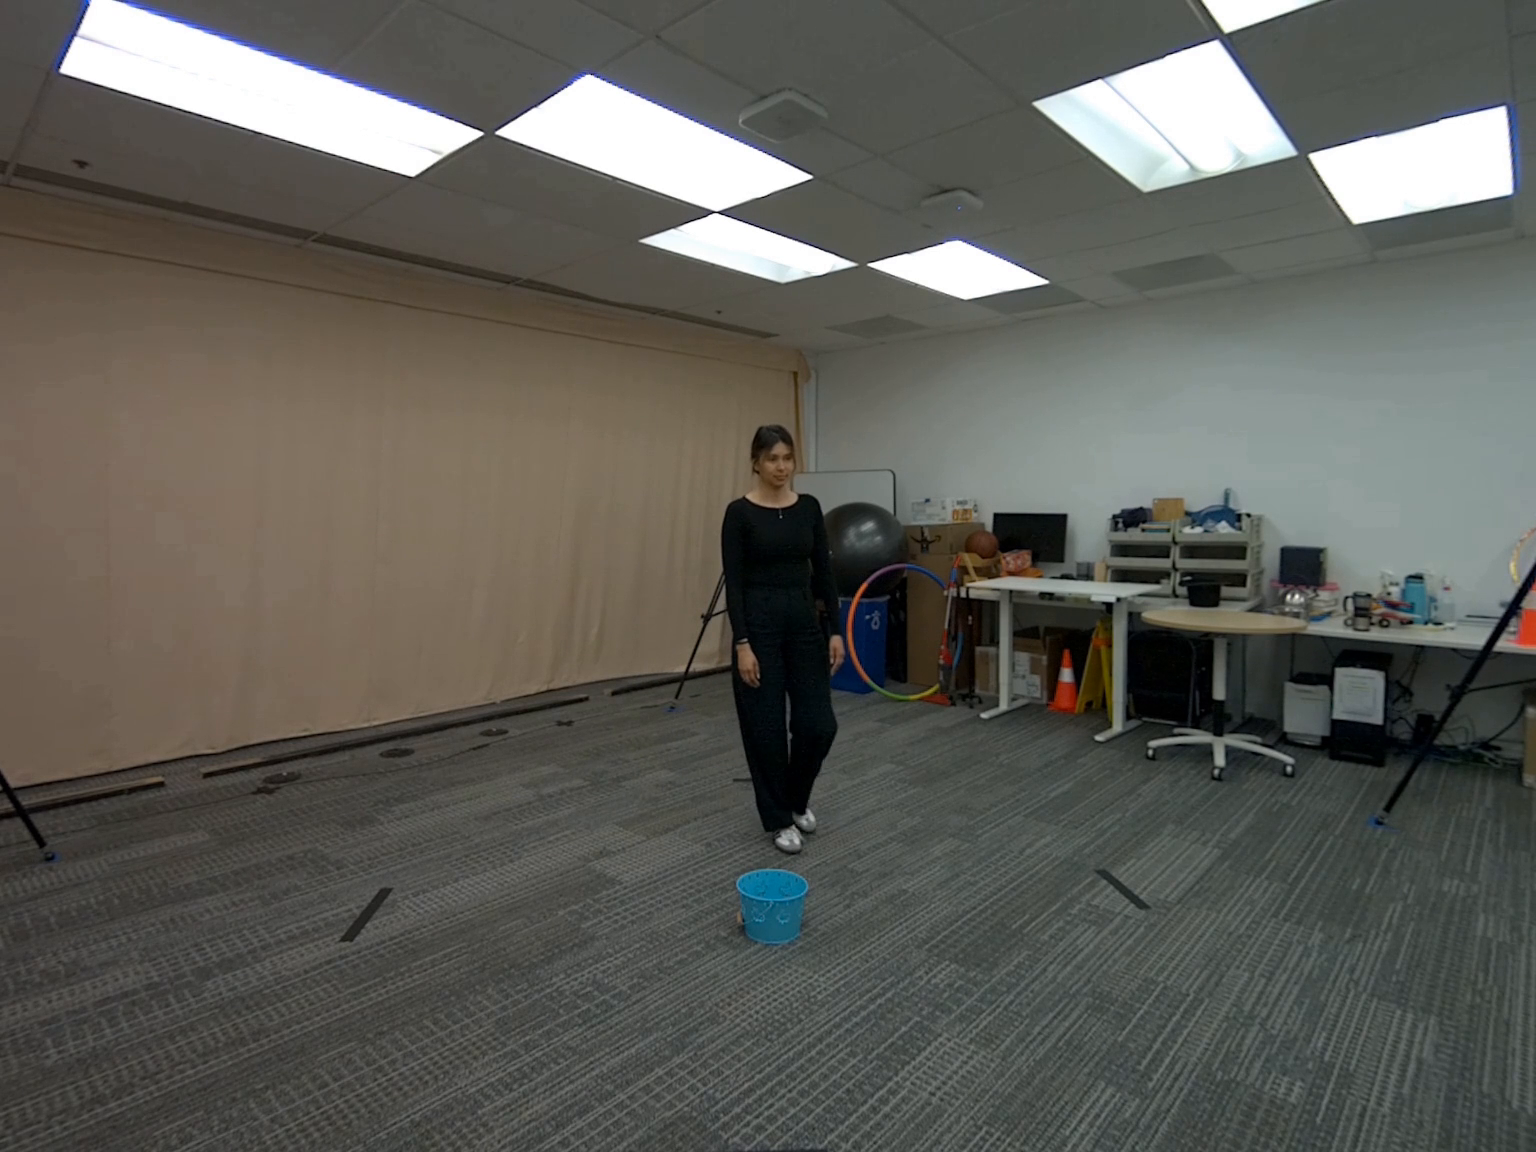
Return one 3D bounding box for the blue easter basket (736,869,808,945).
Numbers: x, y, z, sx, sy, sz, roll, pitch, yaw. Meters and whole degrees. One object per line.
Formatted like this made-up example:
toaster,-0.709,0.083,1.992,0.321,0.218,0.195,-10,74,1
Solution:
blue easter basket,0.012,1.076,2.770,0.243,0.155,0.244,0,5,-2
